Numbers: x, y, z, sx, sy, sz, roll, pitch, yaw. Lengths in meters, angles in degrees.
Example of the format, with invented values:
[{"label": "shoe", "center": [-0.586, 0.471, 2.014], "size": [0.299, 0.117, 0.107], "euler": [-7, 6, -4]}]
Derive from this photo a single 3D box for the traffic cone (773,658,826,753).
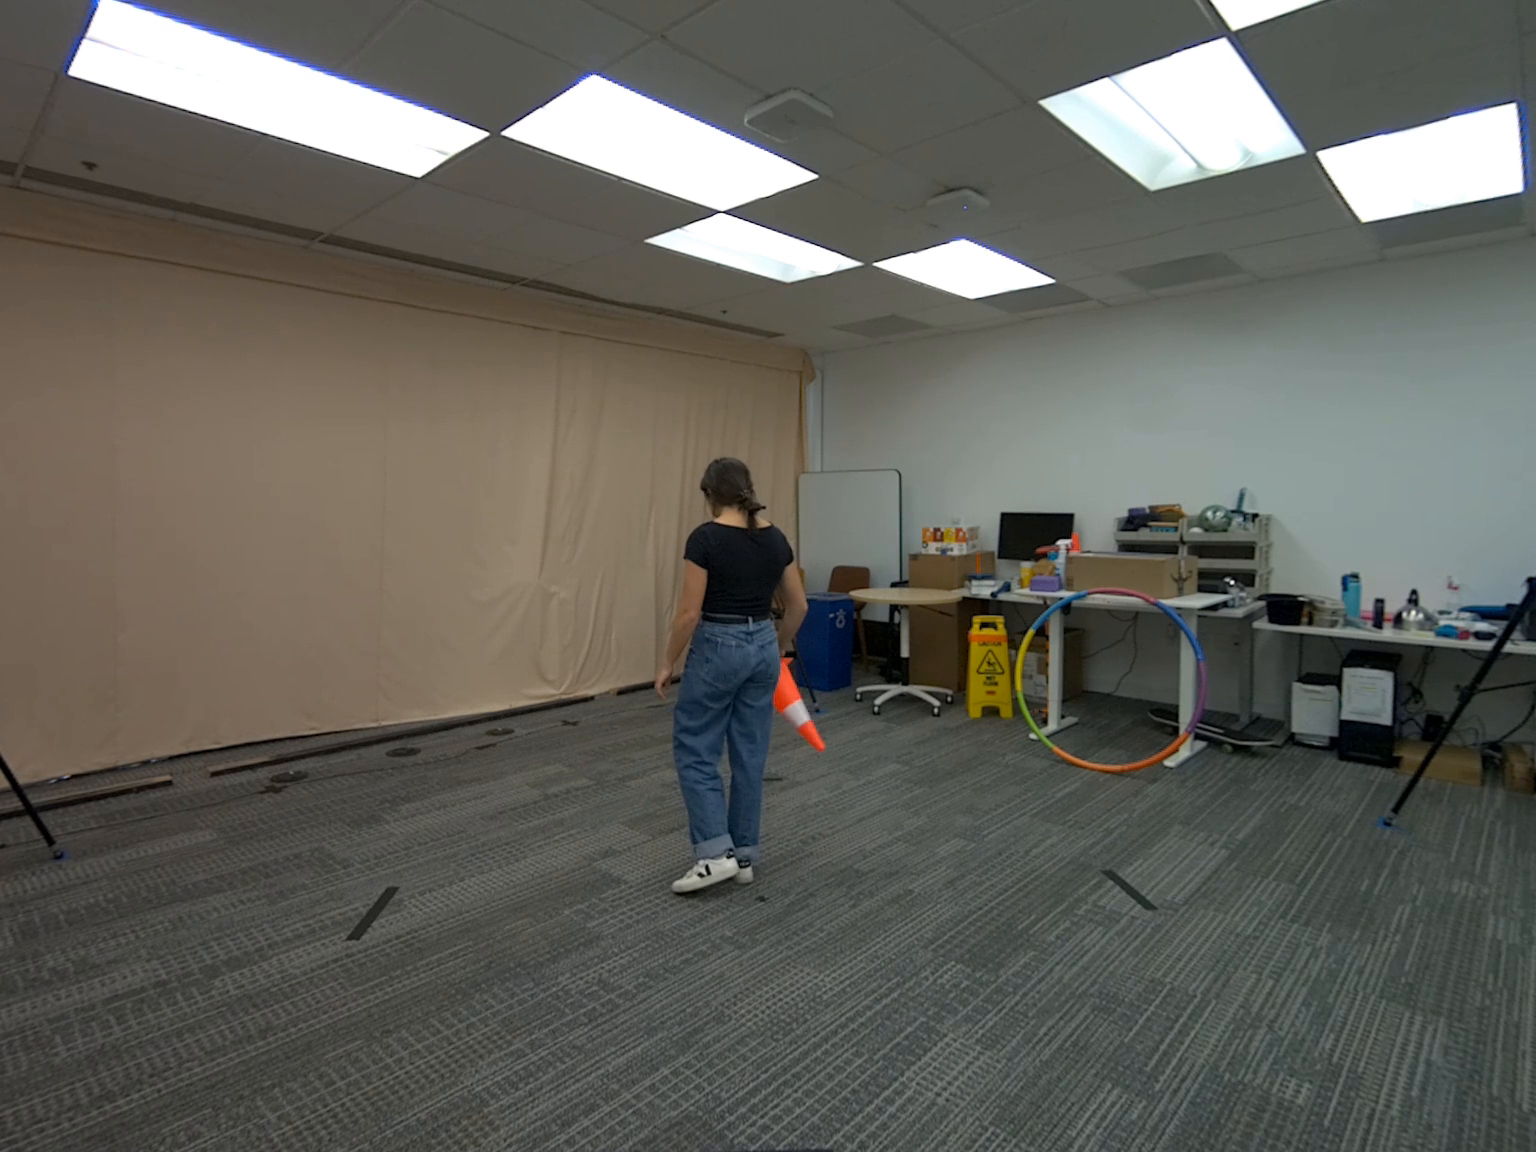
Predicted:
[{"label": "traffic cone", "center": [0.106, 0.551, 3.416], "size": [0.204, 0.391, 0.200], "euler": [-38, -18, 9]}]
